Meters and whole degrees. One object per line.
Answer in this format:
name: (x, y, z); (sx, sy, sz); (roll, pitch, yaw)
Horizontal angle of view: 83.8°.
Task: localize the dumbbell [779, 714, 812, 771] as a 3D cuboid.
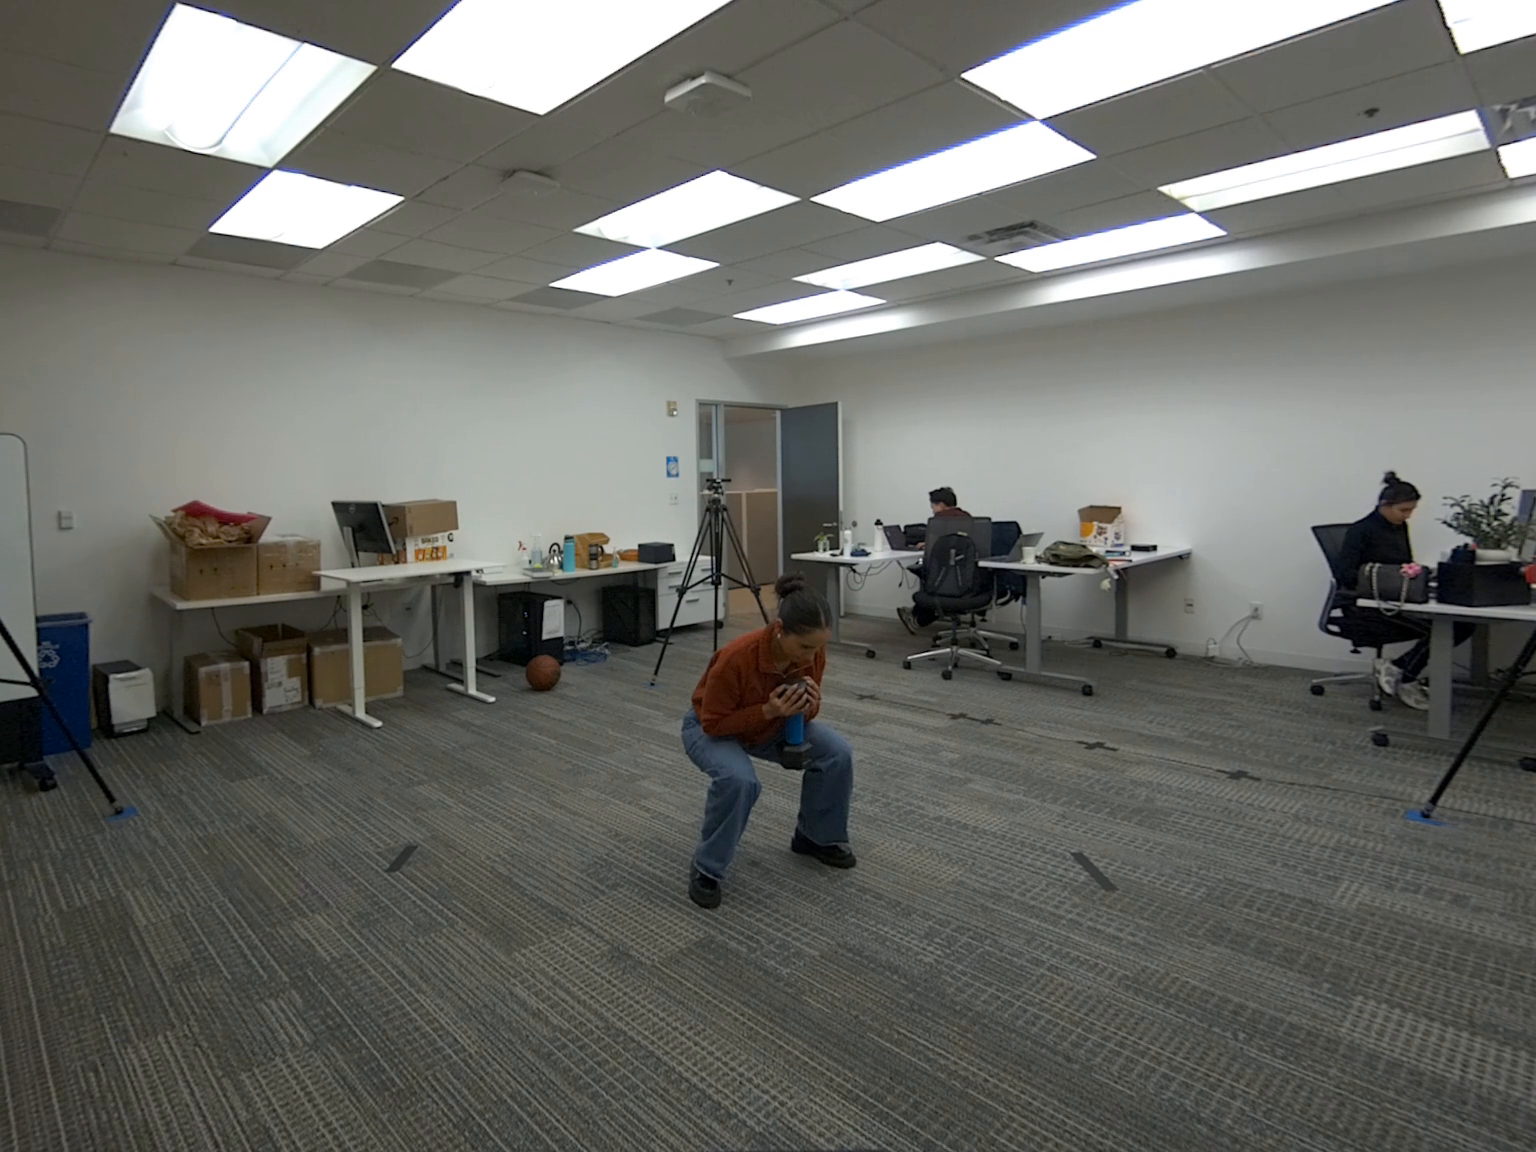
dumbbell: (0.077, 0.474, 2.823); (0.112, 0.291, 0.120); (7, 11, 41)
